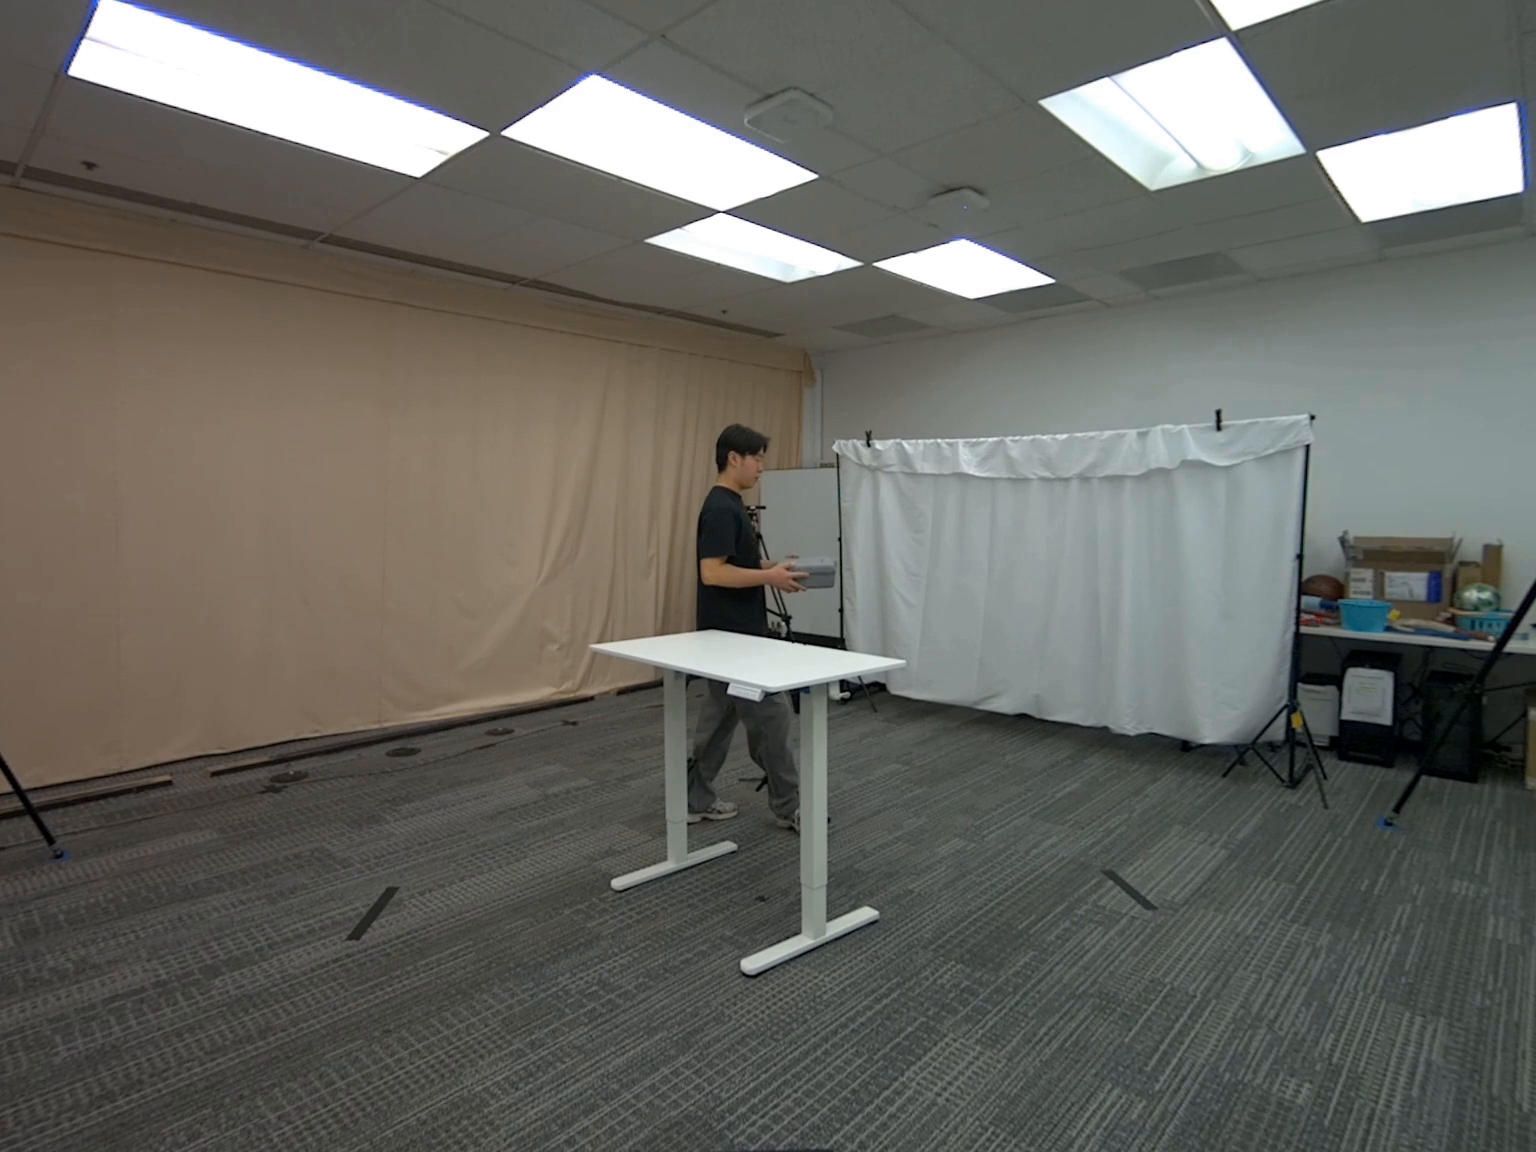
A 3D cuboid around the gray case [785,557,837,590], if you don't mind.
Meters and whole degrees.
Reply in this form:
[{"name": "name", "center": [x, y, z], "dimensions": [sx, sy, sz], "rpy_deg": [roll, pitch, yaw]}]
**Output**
[{"name": "gray case", "center": [0.152, -0.018, 3.629], "dimensions": [0.289, 0.102, 0.263], "rpy_deg": [-2, 9, 6]}]
